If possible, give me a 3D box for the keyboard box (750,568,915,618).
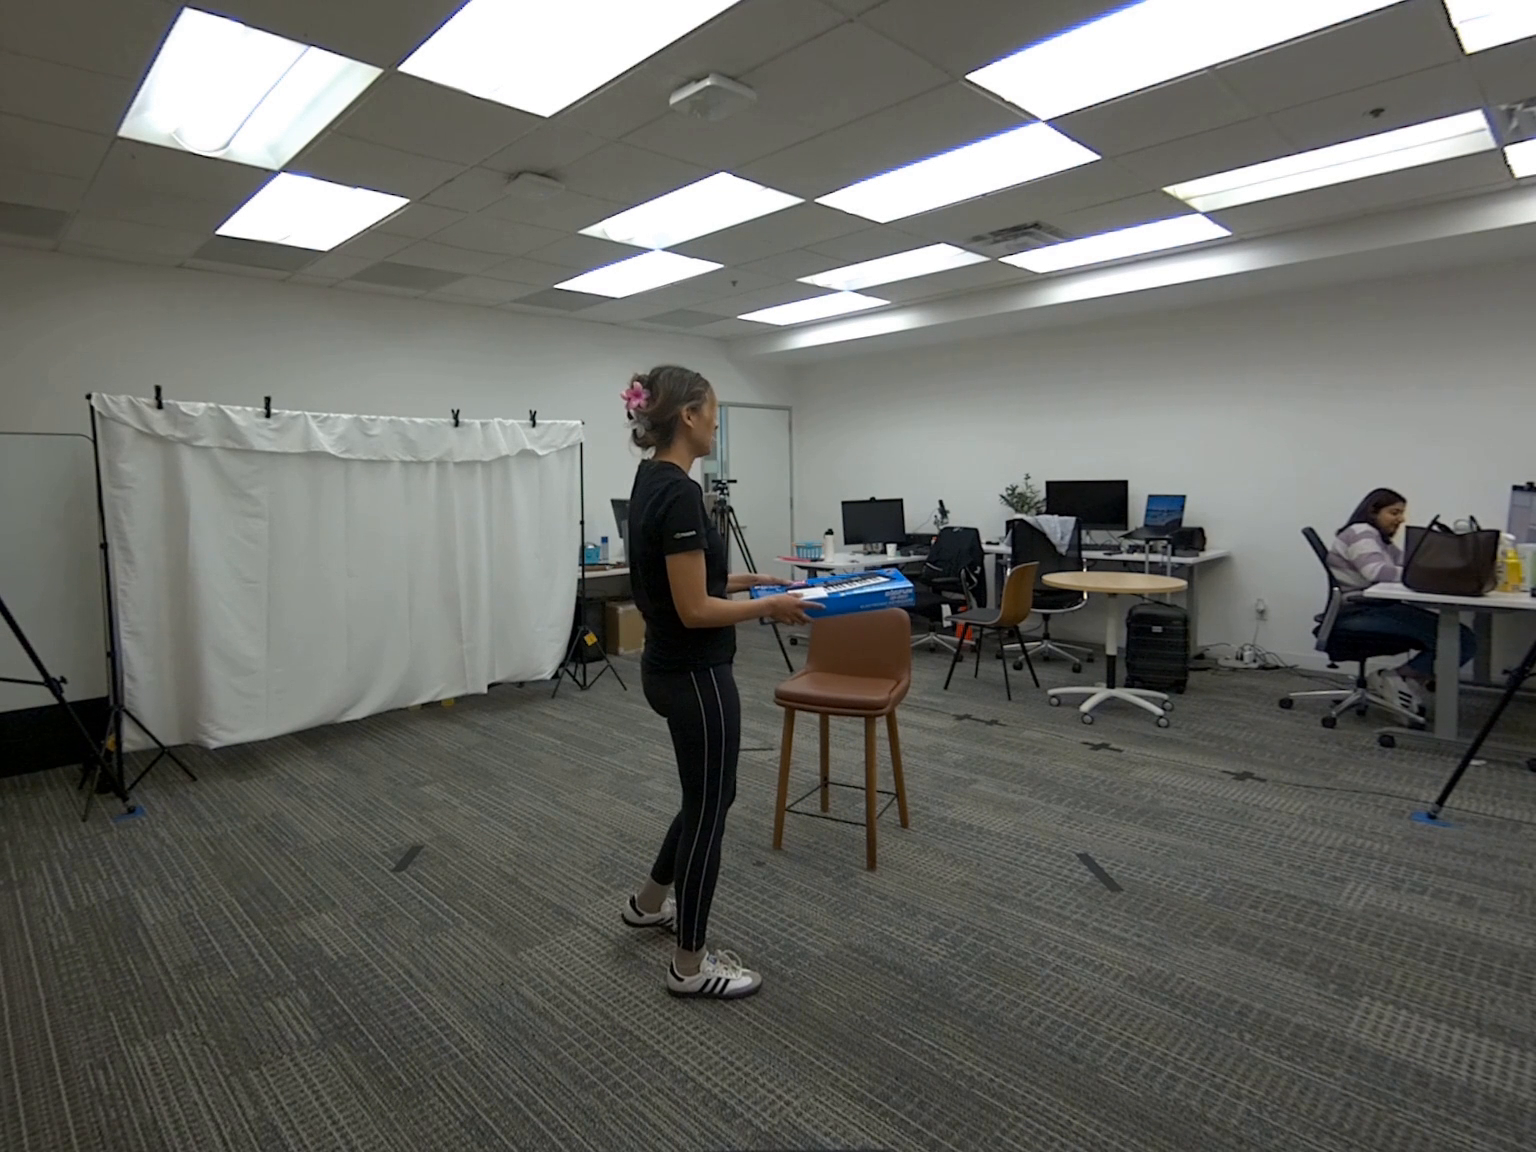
[{"bbox_3d":[0.166,0.054,2.433,0.435,0.058,0.179,-6,18,-3],"label":"keyboard box"}]
